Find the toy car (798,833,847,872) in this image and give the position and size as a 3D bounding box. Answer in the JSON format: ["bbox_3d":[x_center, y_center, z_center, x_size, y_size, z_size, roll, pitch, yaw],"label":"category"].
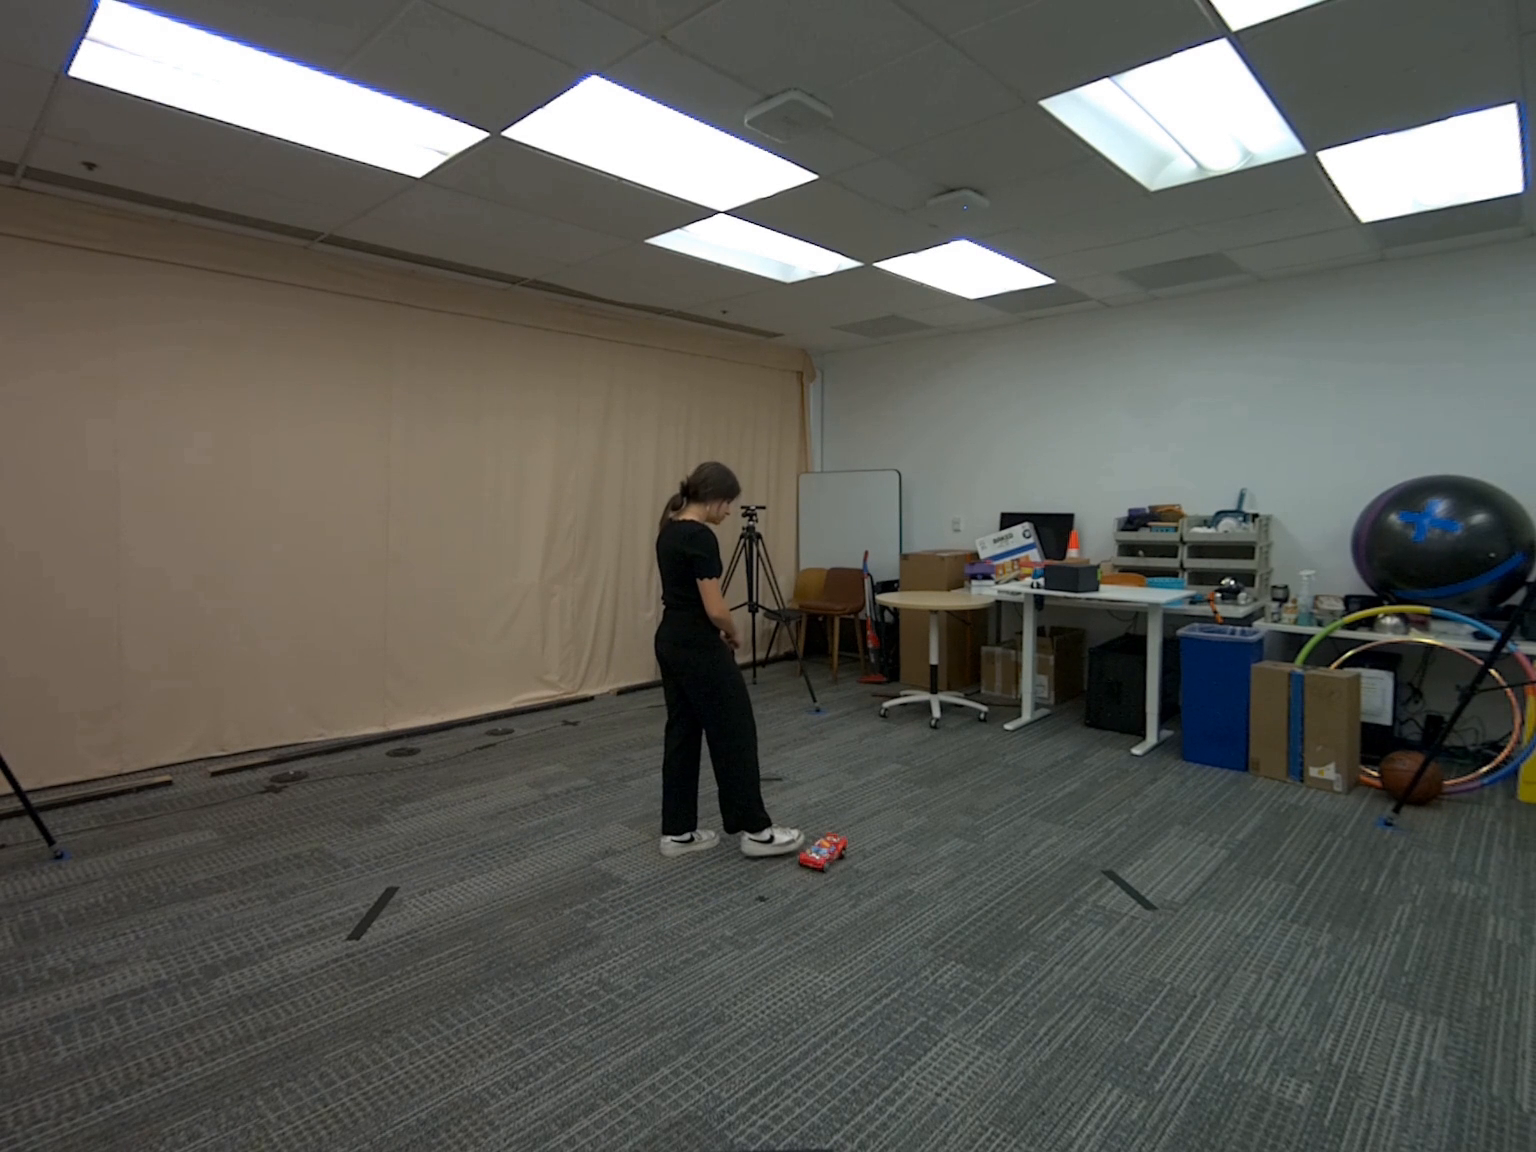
[{"bbox_3d":[0.230,1.085,3.303,0.134,0.082,0.249,3,16,33],"label":"toy car"}]
